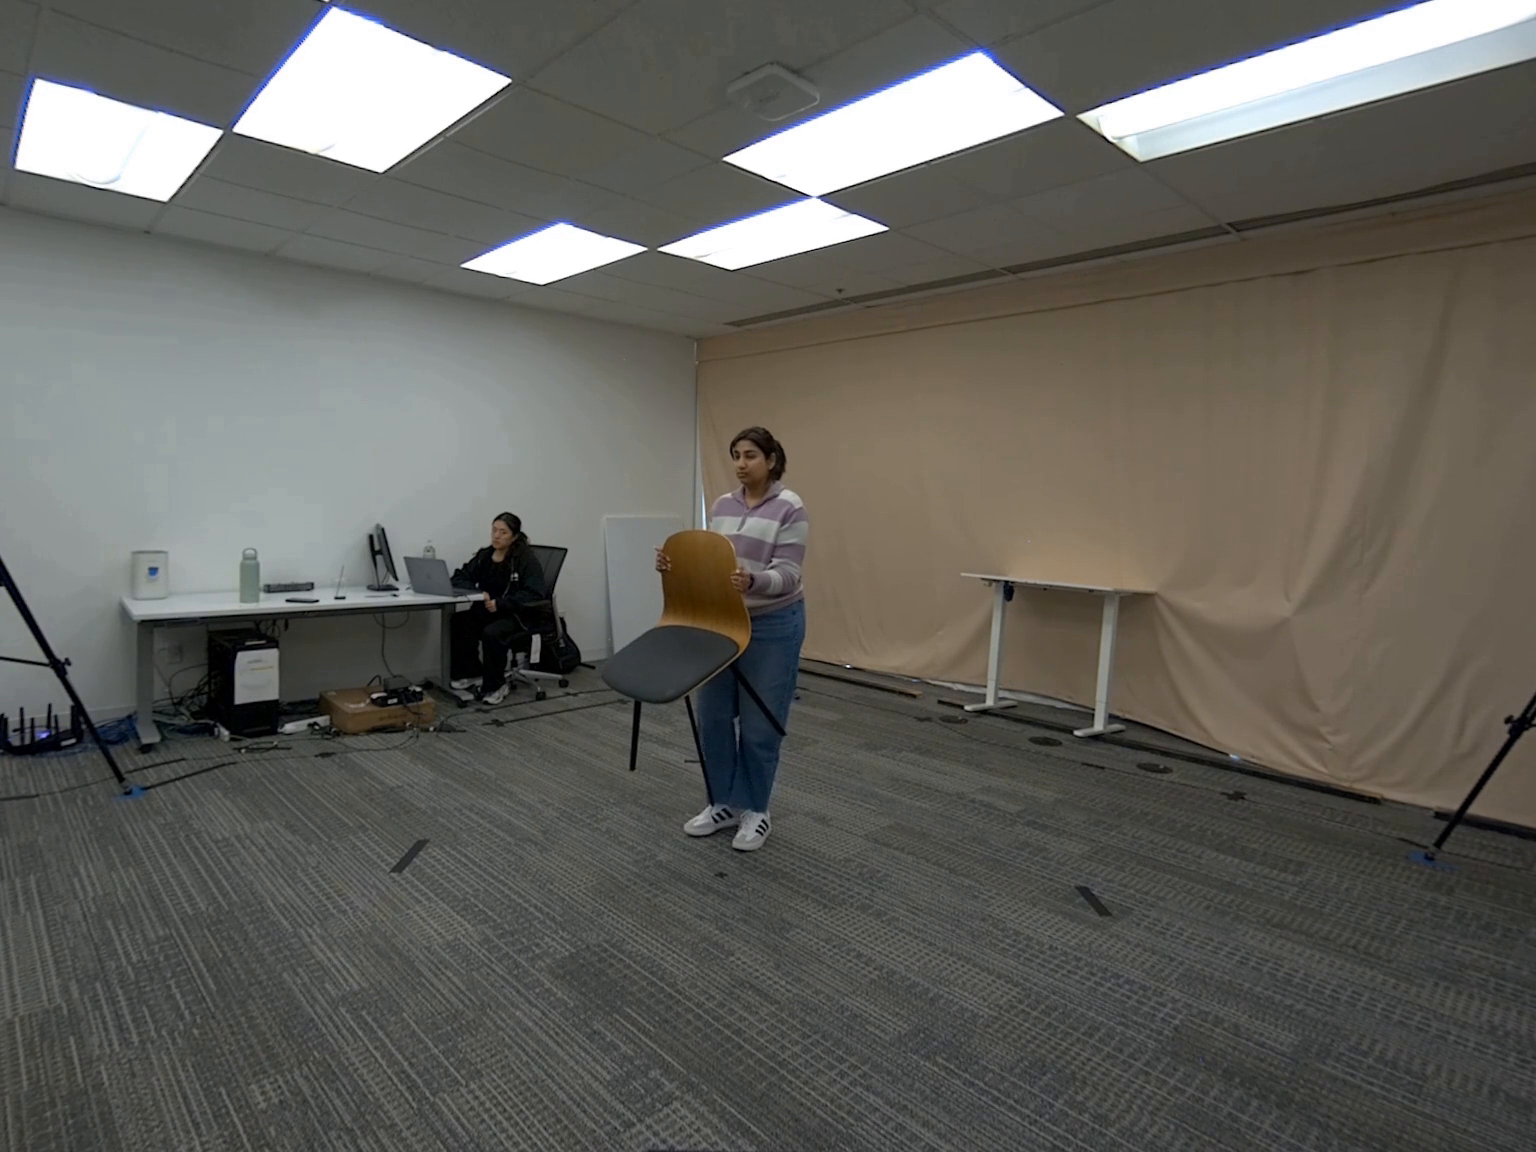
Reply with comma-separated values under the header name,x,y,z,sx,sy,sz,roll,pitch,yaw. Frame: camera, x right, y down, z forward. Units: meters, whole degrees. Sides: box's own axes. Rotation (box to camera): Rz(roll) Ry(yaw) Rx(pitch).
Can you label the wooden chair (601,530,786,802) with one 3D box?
name,x,y,z,sx,sy,sz,roll,pitch,yaw
wooden chair,-0.335,0.332,3.152,0.491,0.863,0.518,10,27,40
